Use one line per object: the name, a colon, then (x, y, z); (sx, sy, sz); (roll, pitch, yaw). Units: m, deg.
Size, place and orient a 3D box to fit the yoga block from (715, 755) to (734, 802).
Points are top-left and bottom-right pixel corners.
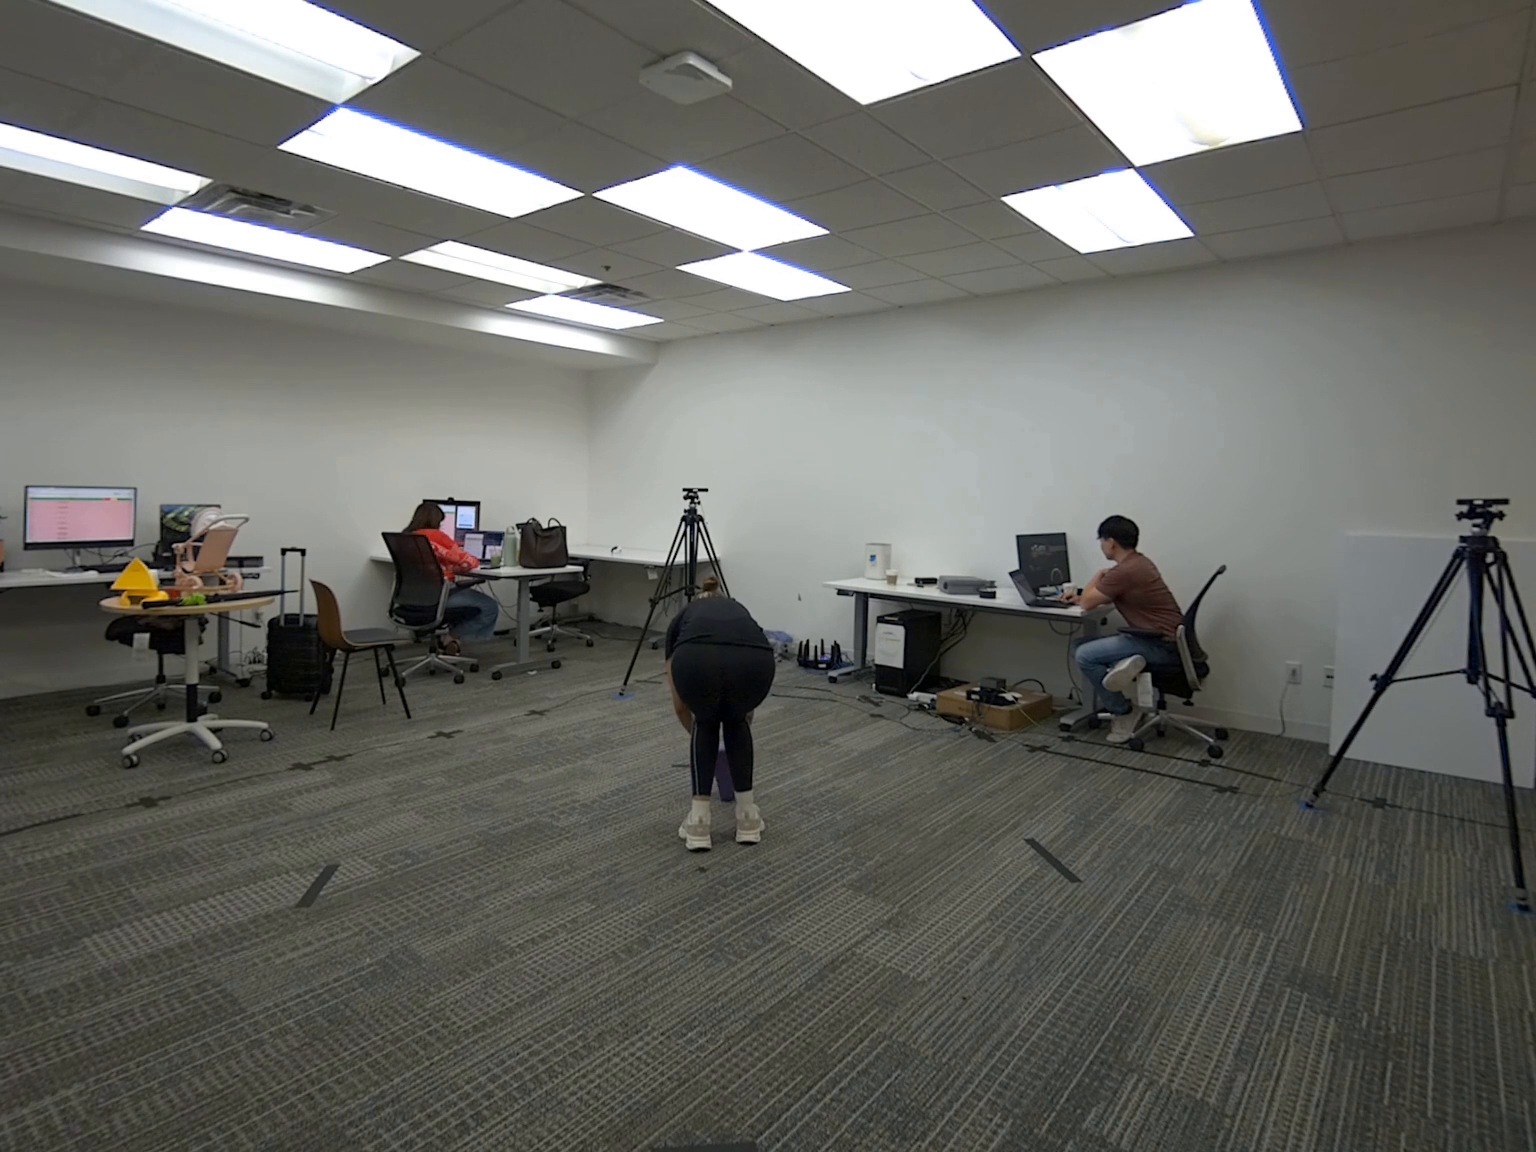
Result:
yoga block: (-0.220, 0.891, 3.866); (0.076, 0.229, 0.150); (-14, 3, -5)
